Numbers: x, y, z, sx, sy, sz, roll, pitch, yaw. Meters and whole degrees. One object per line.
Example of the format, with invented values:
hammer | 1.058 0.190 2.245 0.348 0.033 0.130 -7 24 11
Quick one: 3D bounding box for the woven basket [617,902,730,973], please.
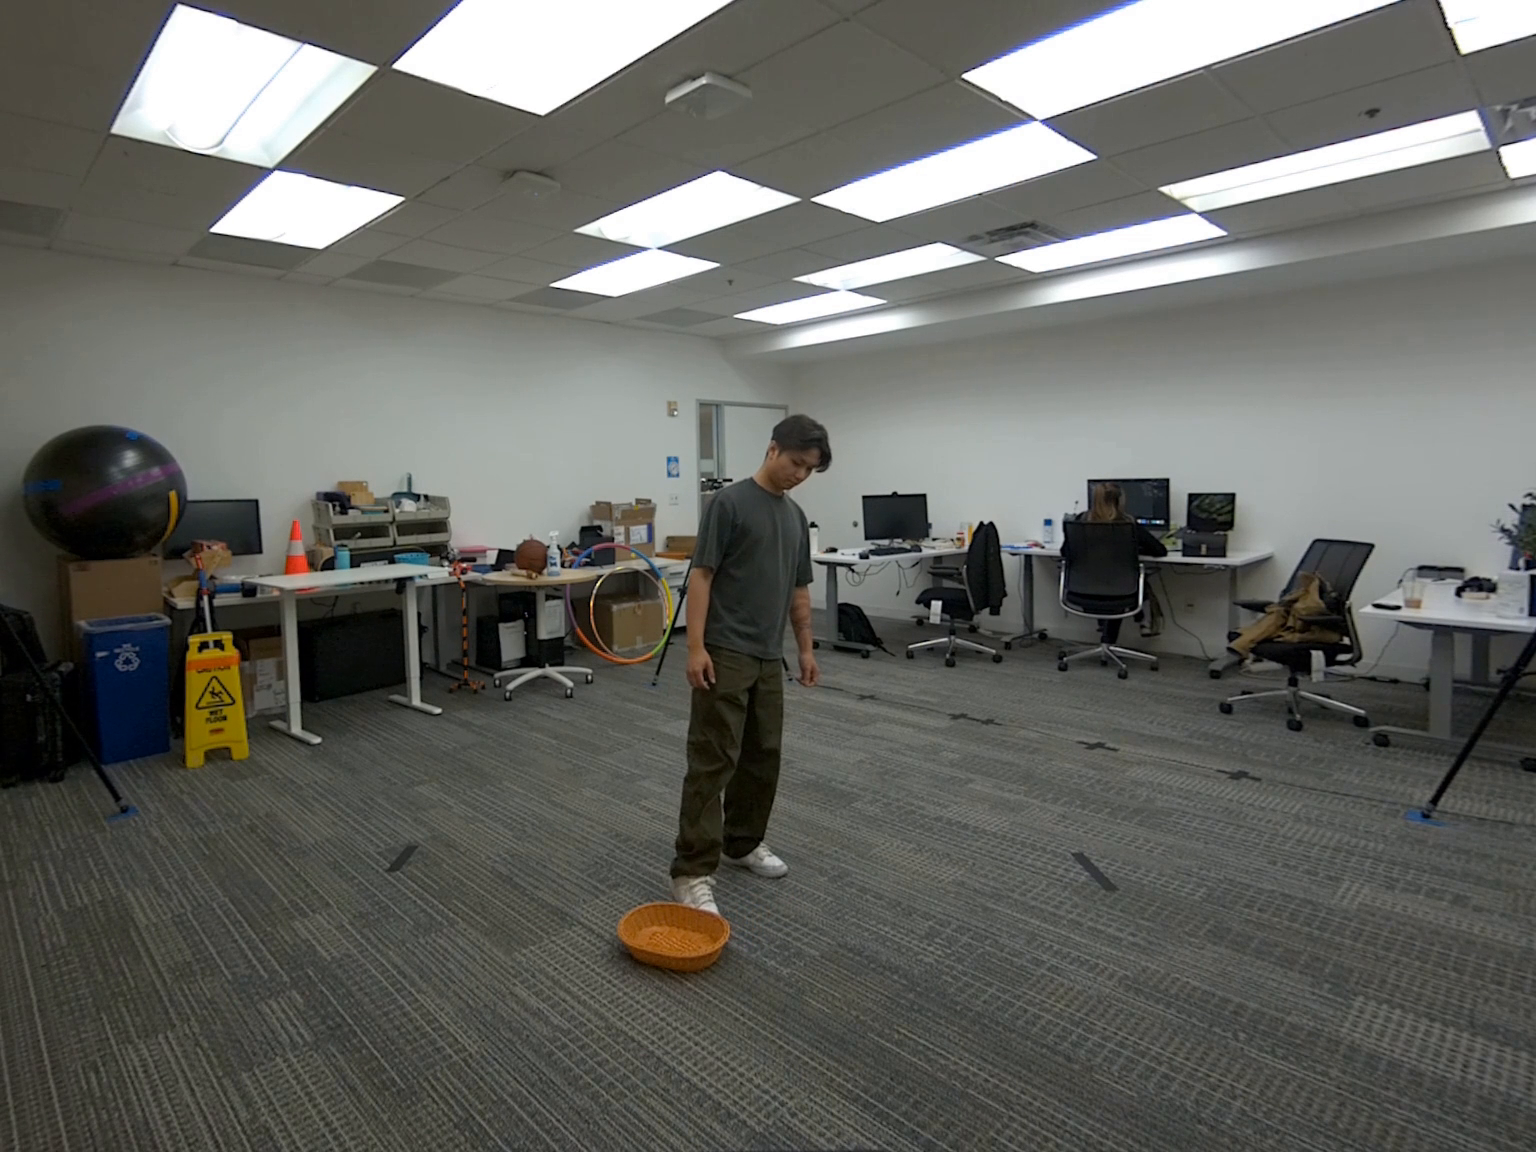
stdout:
woven basket | -0.273 1.076 2.539 0.359 0.073 0.248 3 10 29
